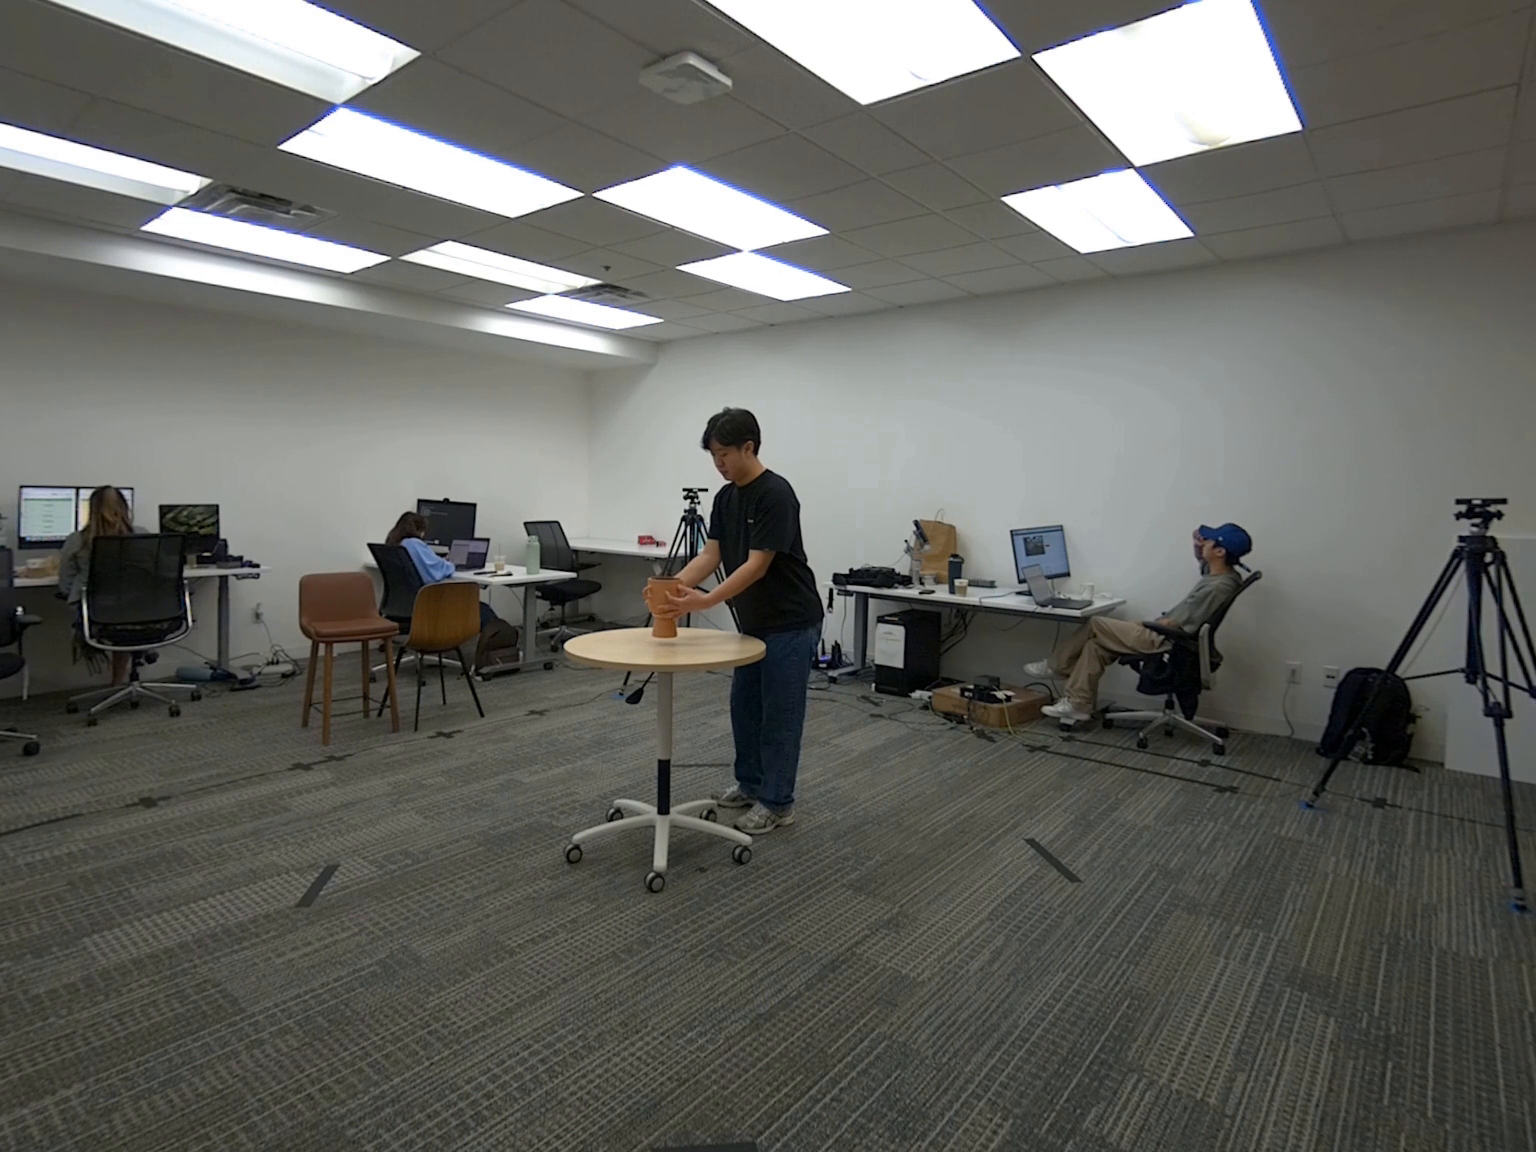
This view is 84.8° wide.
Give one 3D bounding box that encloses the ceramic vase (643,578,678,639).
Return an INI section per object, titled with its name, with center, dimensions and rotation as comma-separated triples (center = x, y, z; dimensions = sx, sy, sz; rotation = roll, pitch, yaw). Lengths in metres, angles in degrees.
[ceramic vase]
center = -0.408, 0.118, 3.247
dimensions = 0.159, 0.219, 0.134
rotation = 2, 3, 2
